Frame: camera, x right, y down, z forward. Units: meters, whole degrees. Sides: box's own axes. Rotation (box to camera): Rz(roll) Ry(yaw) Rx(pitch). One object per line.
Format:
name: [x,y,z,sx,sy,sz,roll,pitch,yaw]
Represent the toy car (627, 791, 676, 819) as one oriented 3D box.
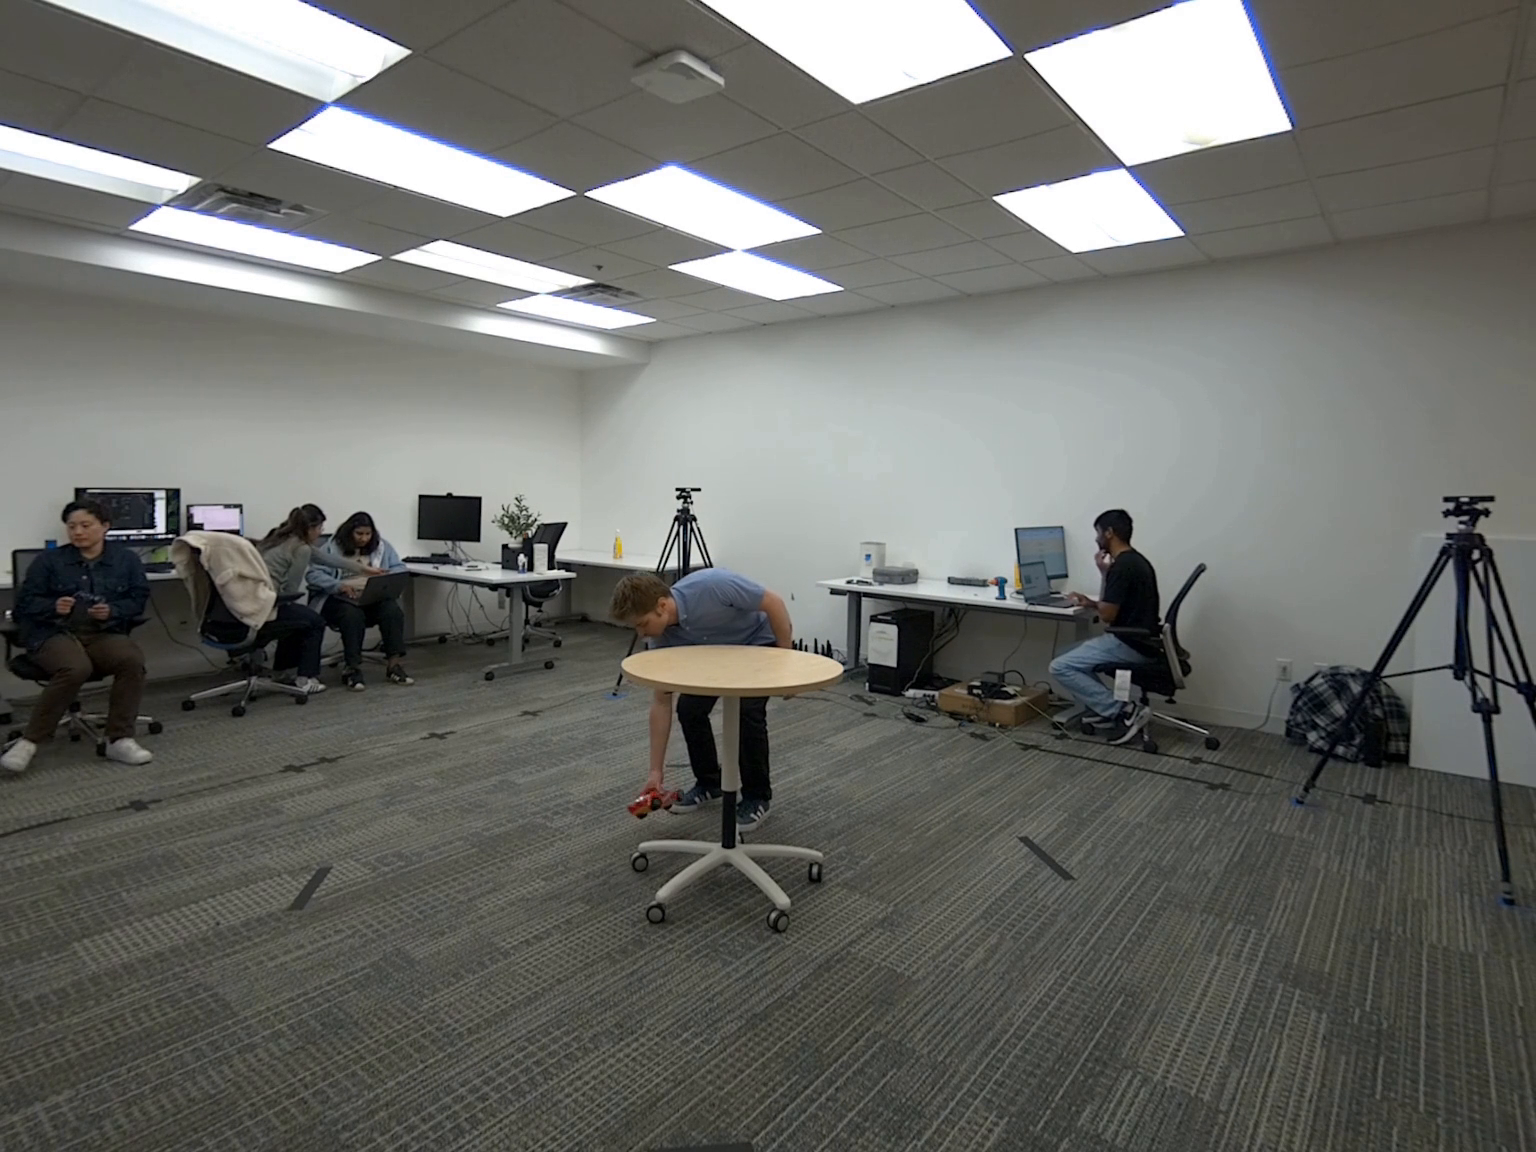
toy car: [-0.465,0.900,3.384,0.131,0.086,0.245,-39,-34,30]
